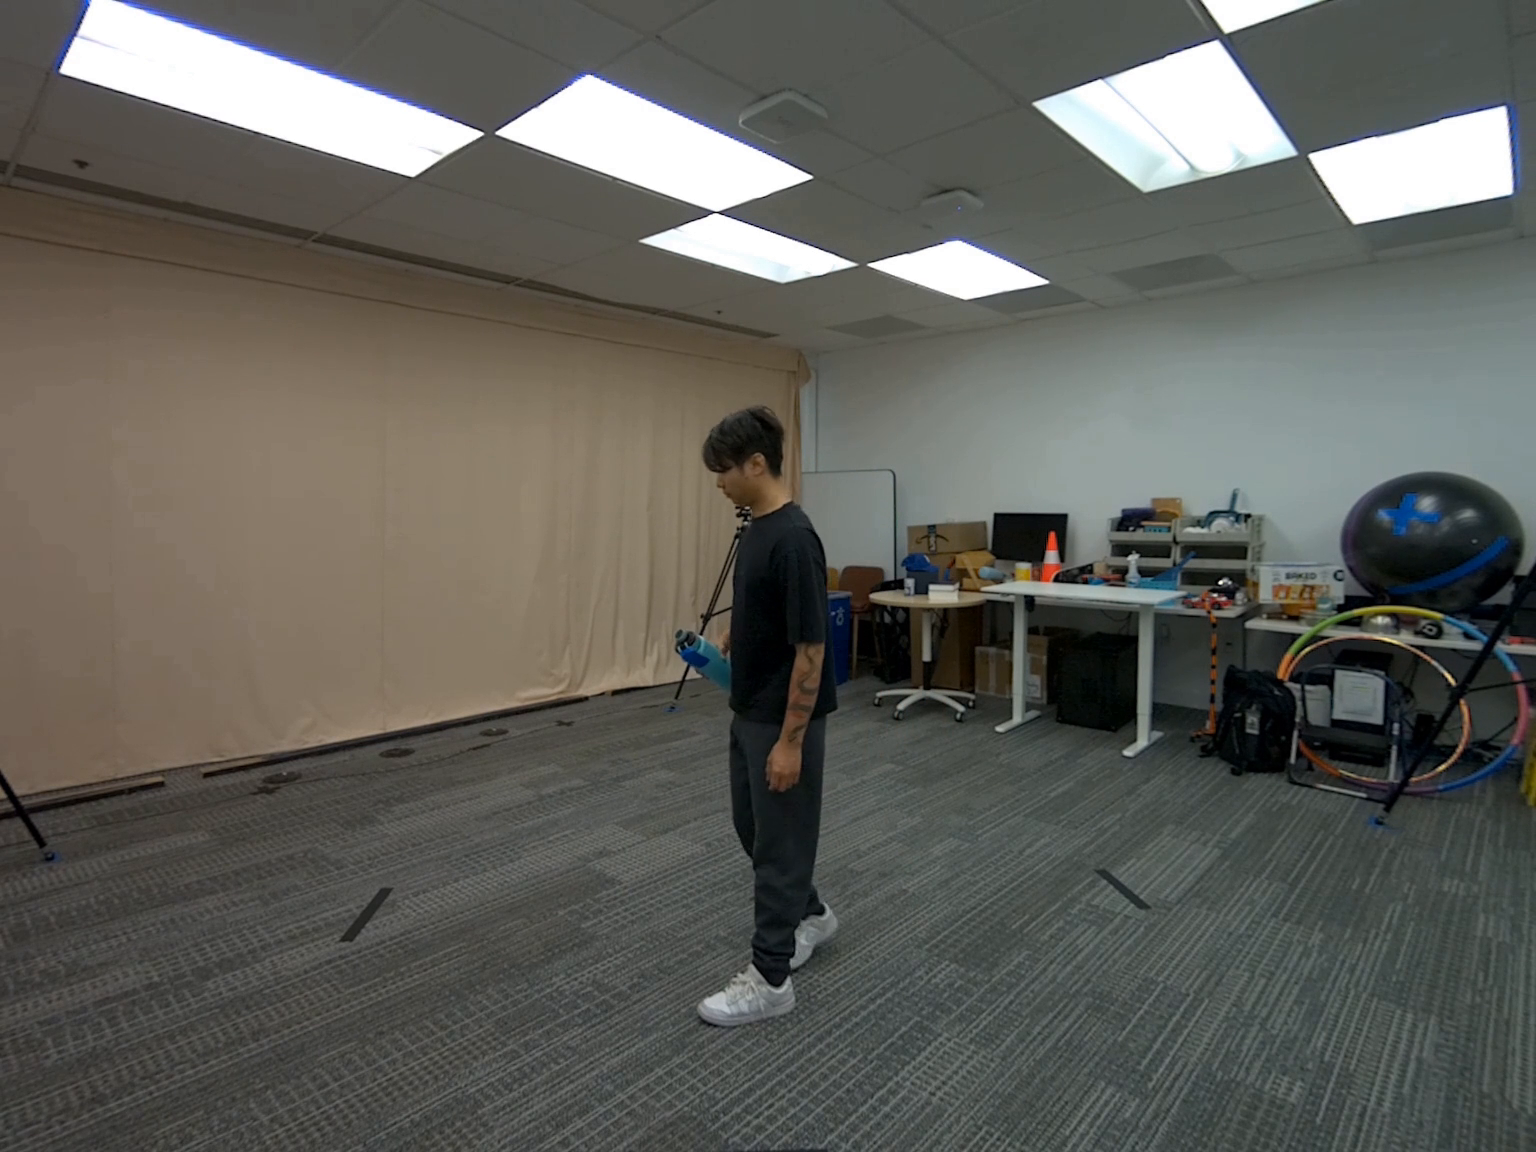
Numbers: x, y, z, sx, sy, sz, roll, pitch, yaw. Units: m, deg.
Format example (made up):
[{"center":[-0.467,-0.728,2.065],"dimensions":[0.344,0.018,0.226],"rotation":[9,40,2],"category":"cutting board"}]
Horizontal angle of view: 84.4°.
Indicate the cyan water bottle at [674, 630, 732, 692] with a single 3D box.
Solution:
[{"center":[-0.165,0.261,2.534],"dimensions":[0.095,0.092,0.274],"rotation":[4,-30,46],"category":"cyan water bottle"}]
